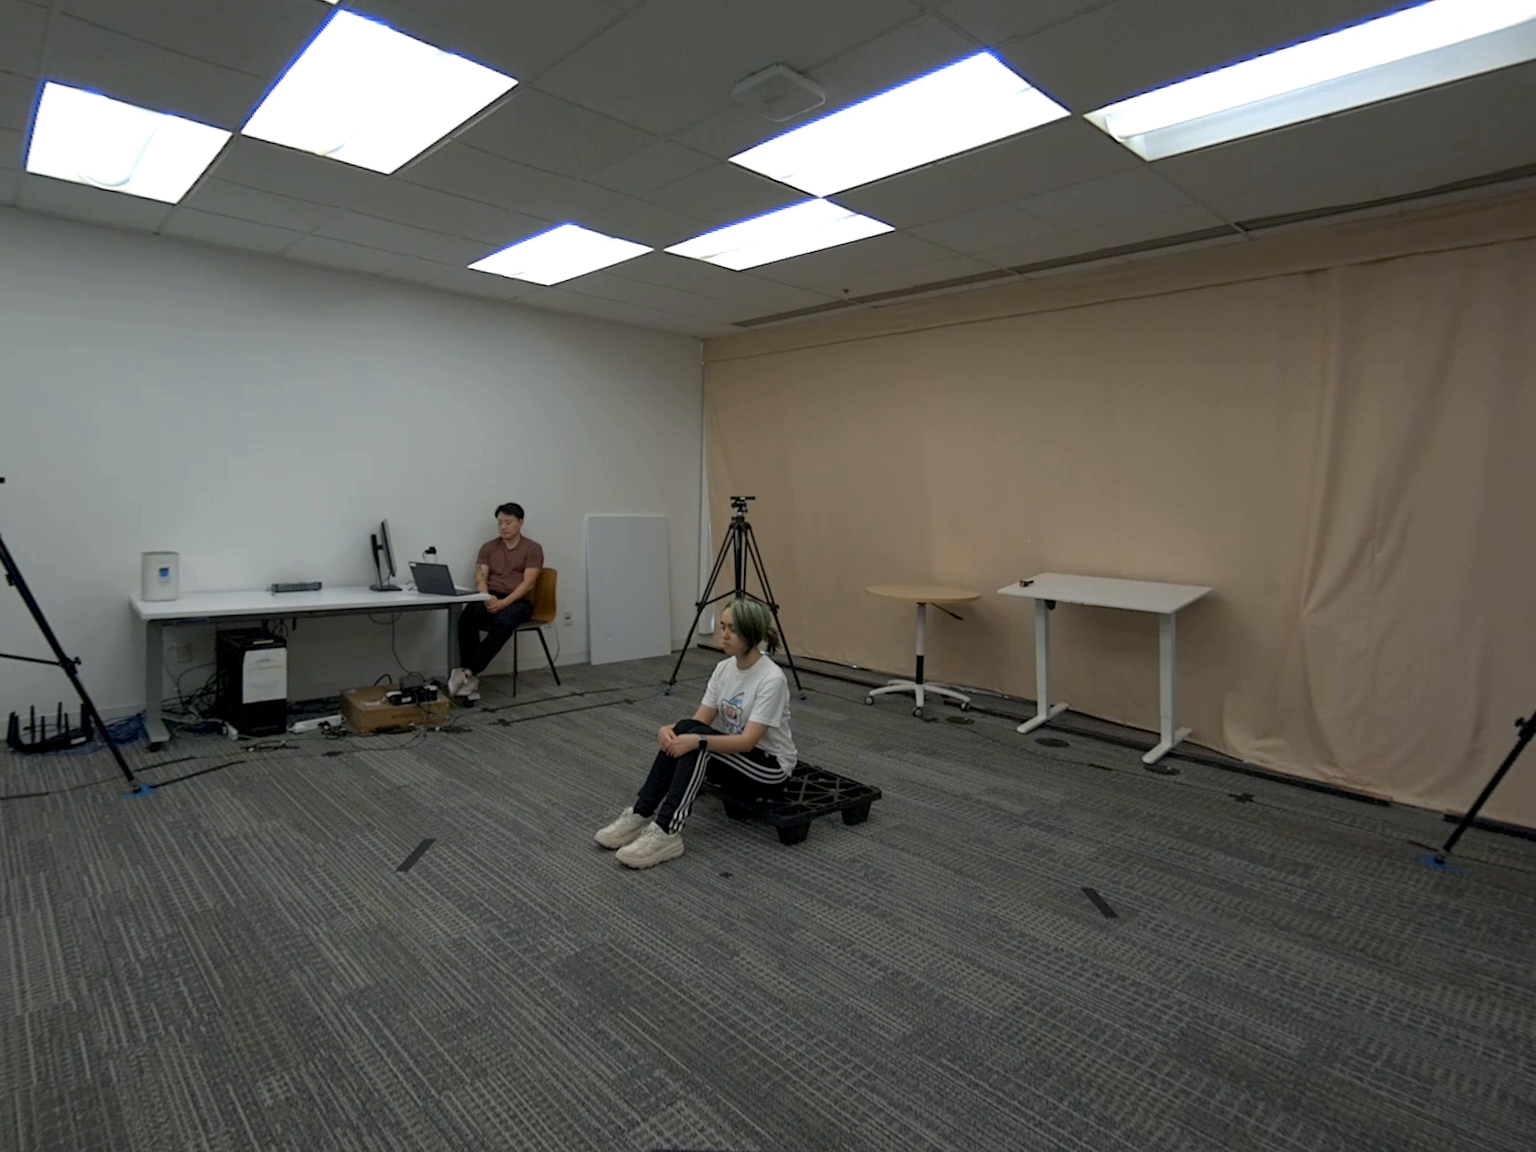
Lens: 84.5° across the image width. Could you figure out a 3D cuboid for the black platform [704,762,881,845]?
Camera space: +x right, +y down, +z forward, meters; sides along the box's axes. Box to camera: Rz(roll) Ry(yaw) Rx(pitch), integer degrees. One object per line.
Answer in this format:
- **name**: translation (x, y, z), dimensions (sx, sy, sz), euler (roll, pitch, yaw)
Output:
- **black platform**: translation (0.009, 0.980, 3.803), dimensions (0.591, 0.143, 0.826), euler (-3, 6, -40)
